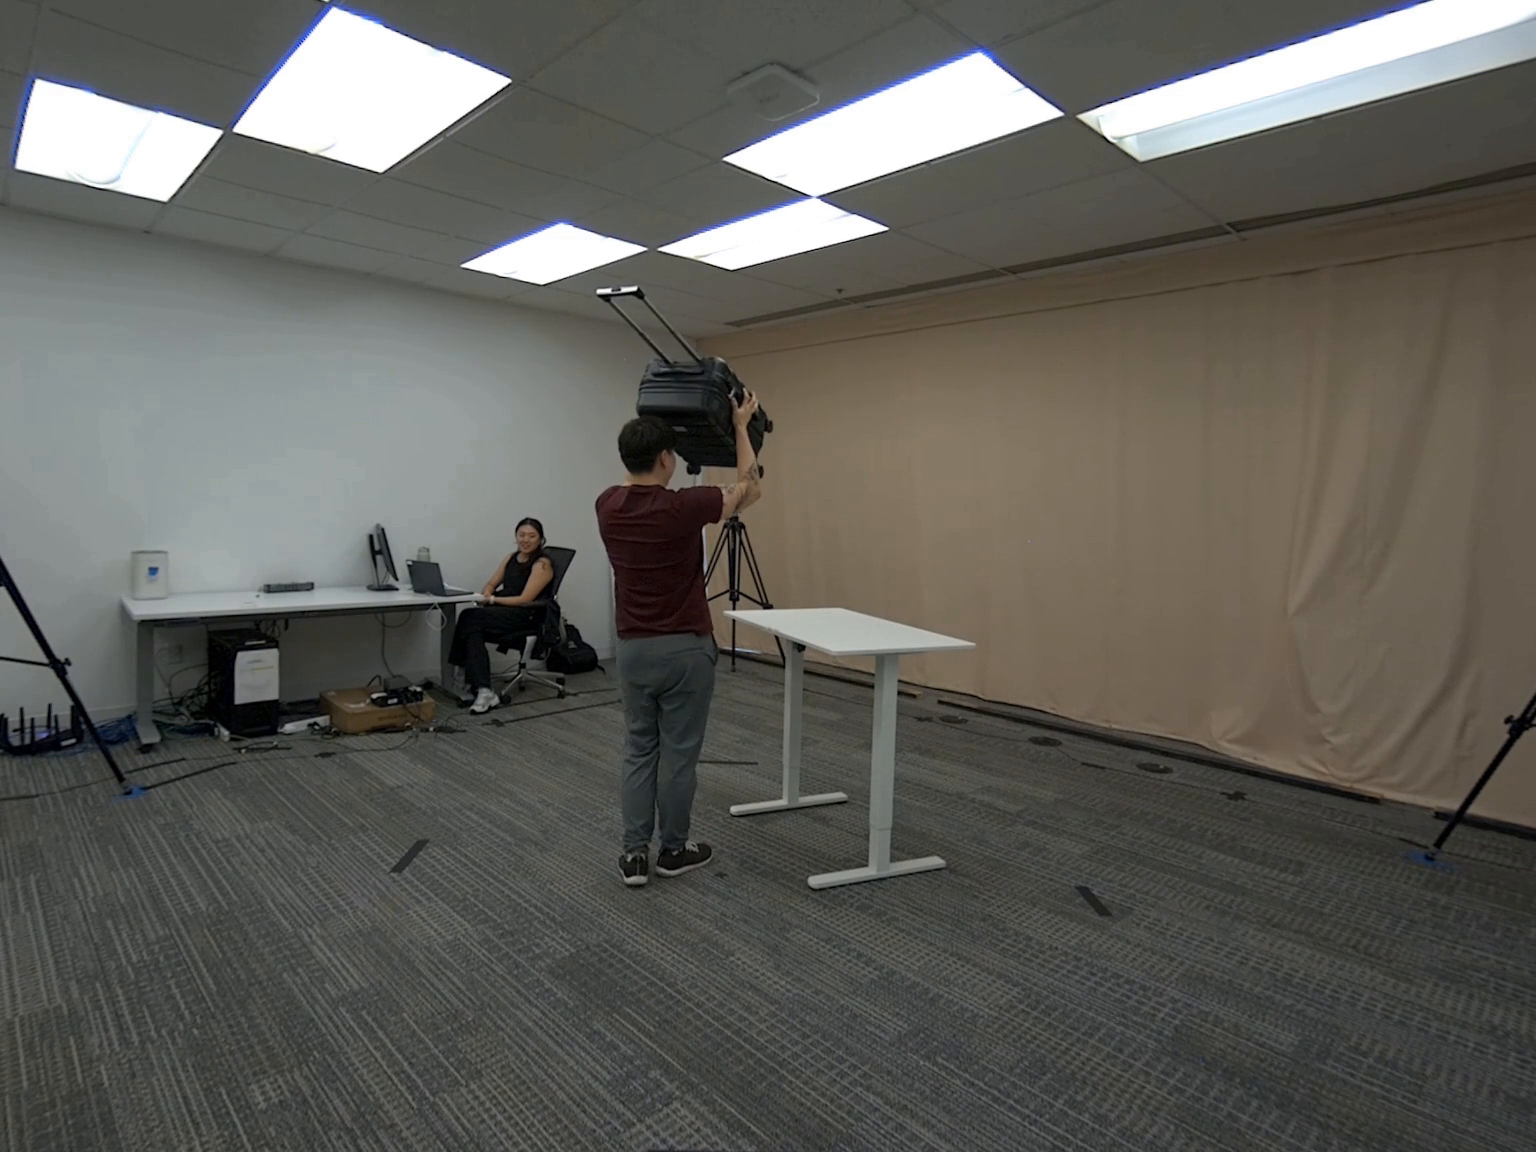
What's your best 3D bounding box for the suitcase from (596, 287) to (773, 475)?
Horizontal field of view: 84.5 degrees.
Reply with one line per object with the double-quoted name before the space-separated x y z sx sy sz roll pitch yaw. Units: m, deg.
"suitcase" -0.327 -0.677 3.099 0.391 0.259 0.951 4 -16 25
